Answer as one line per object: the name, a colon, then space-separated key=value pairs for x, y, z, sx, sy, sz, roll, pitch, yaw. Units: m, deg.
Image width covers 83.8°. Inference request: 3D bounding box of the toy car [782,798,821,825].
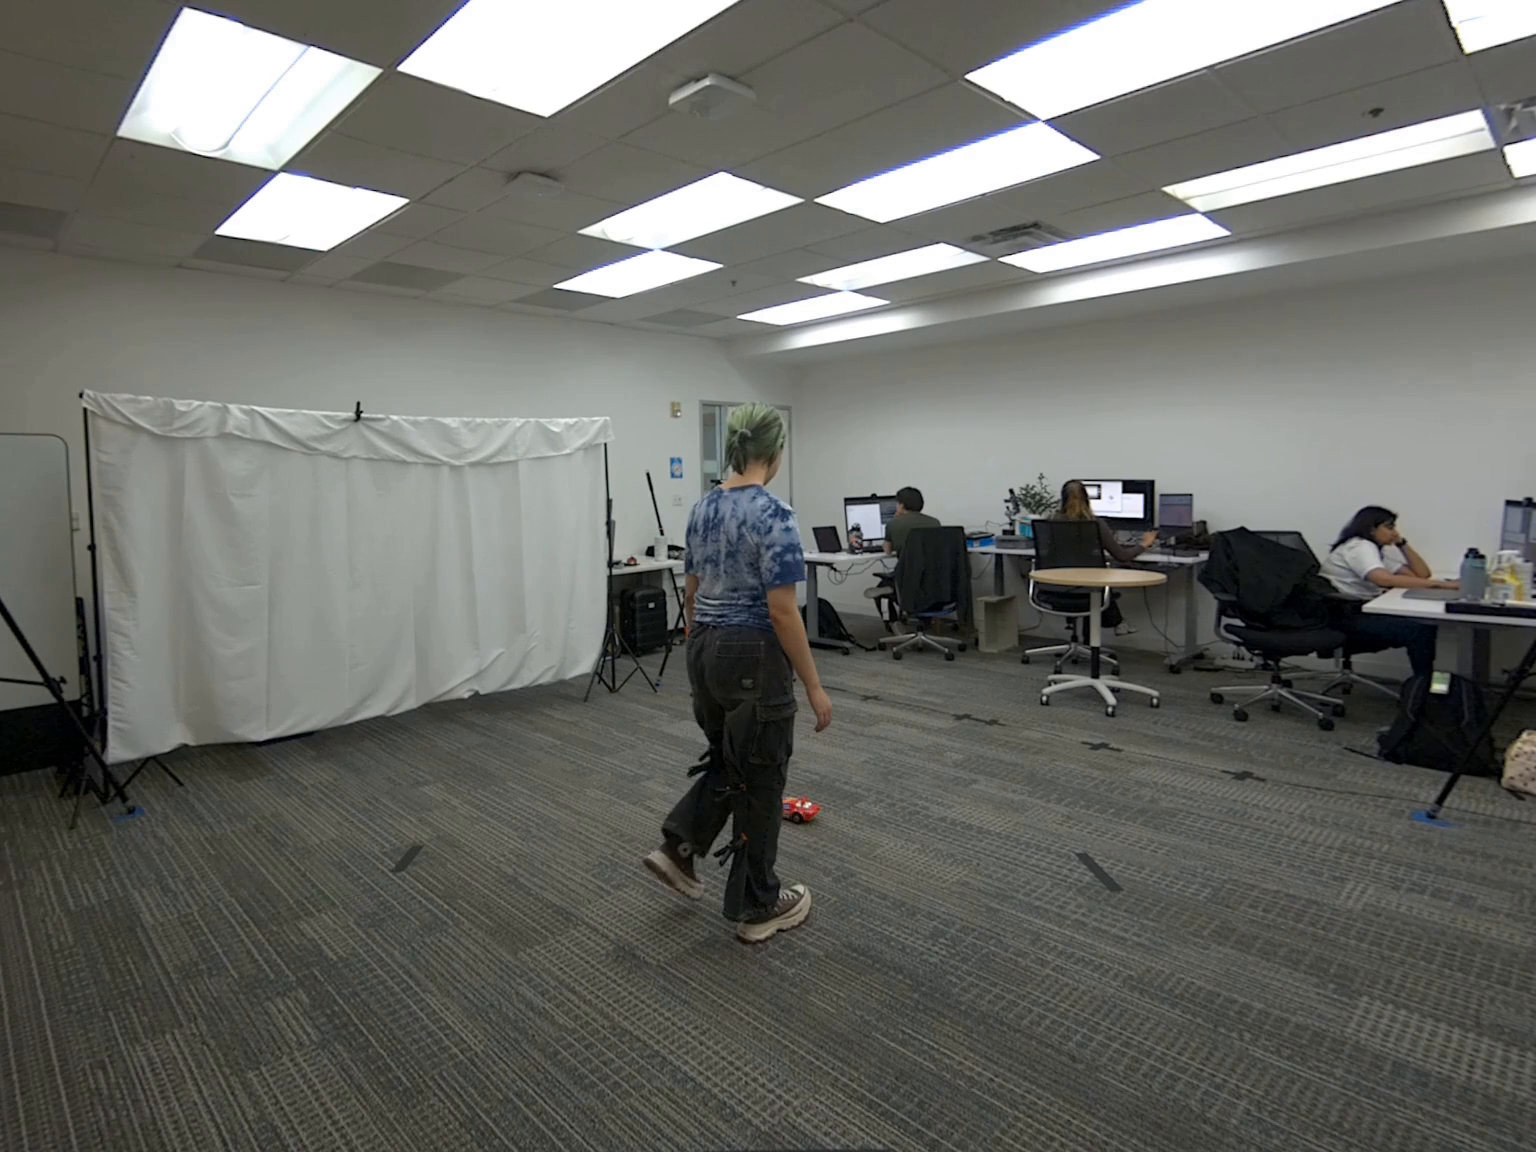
toy car: x=0.098 y=0.968 z=3.529 sx=0.259 sy=0.083 sz=0.127 roll=-10 pitch=0 yaw=29
